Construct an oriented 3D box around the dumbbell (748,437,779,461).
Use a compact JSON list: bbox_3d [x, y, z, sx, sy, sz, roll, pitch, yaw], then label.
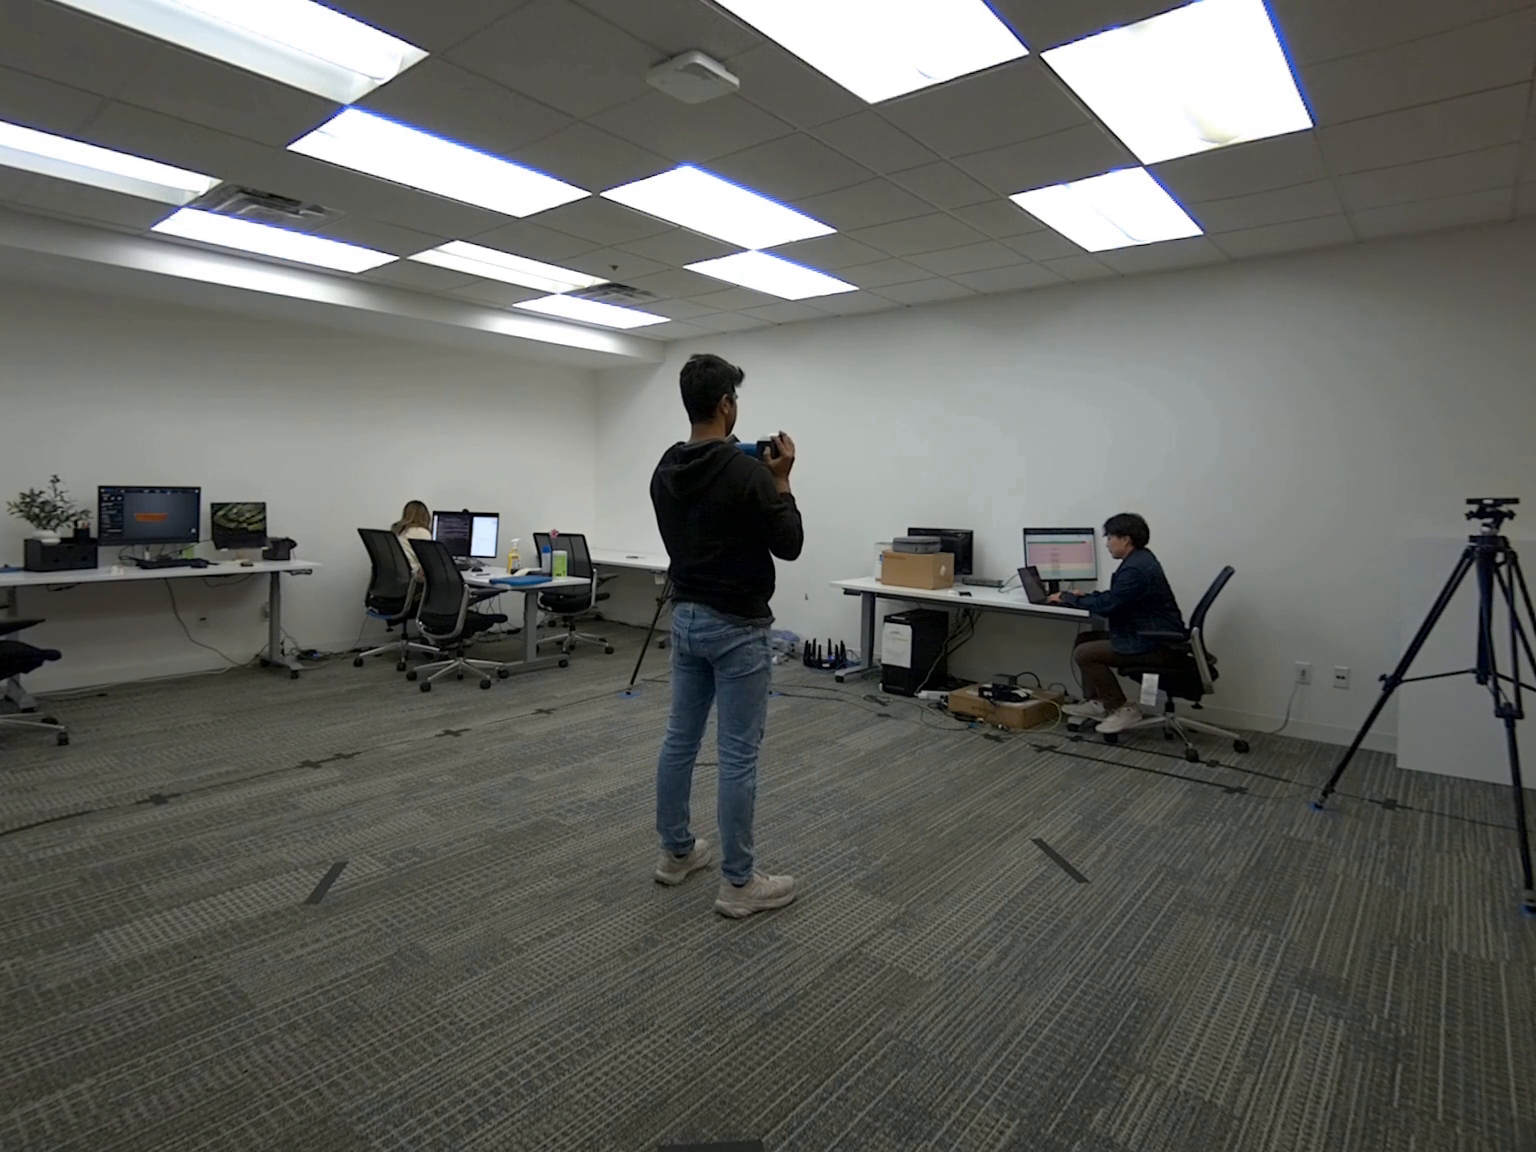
[{"bbox_3d":[-0.079,-0.444,3.003,0.304,0.122,0.105,7,7,39],"label":"dumbbell"}]
